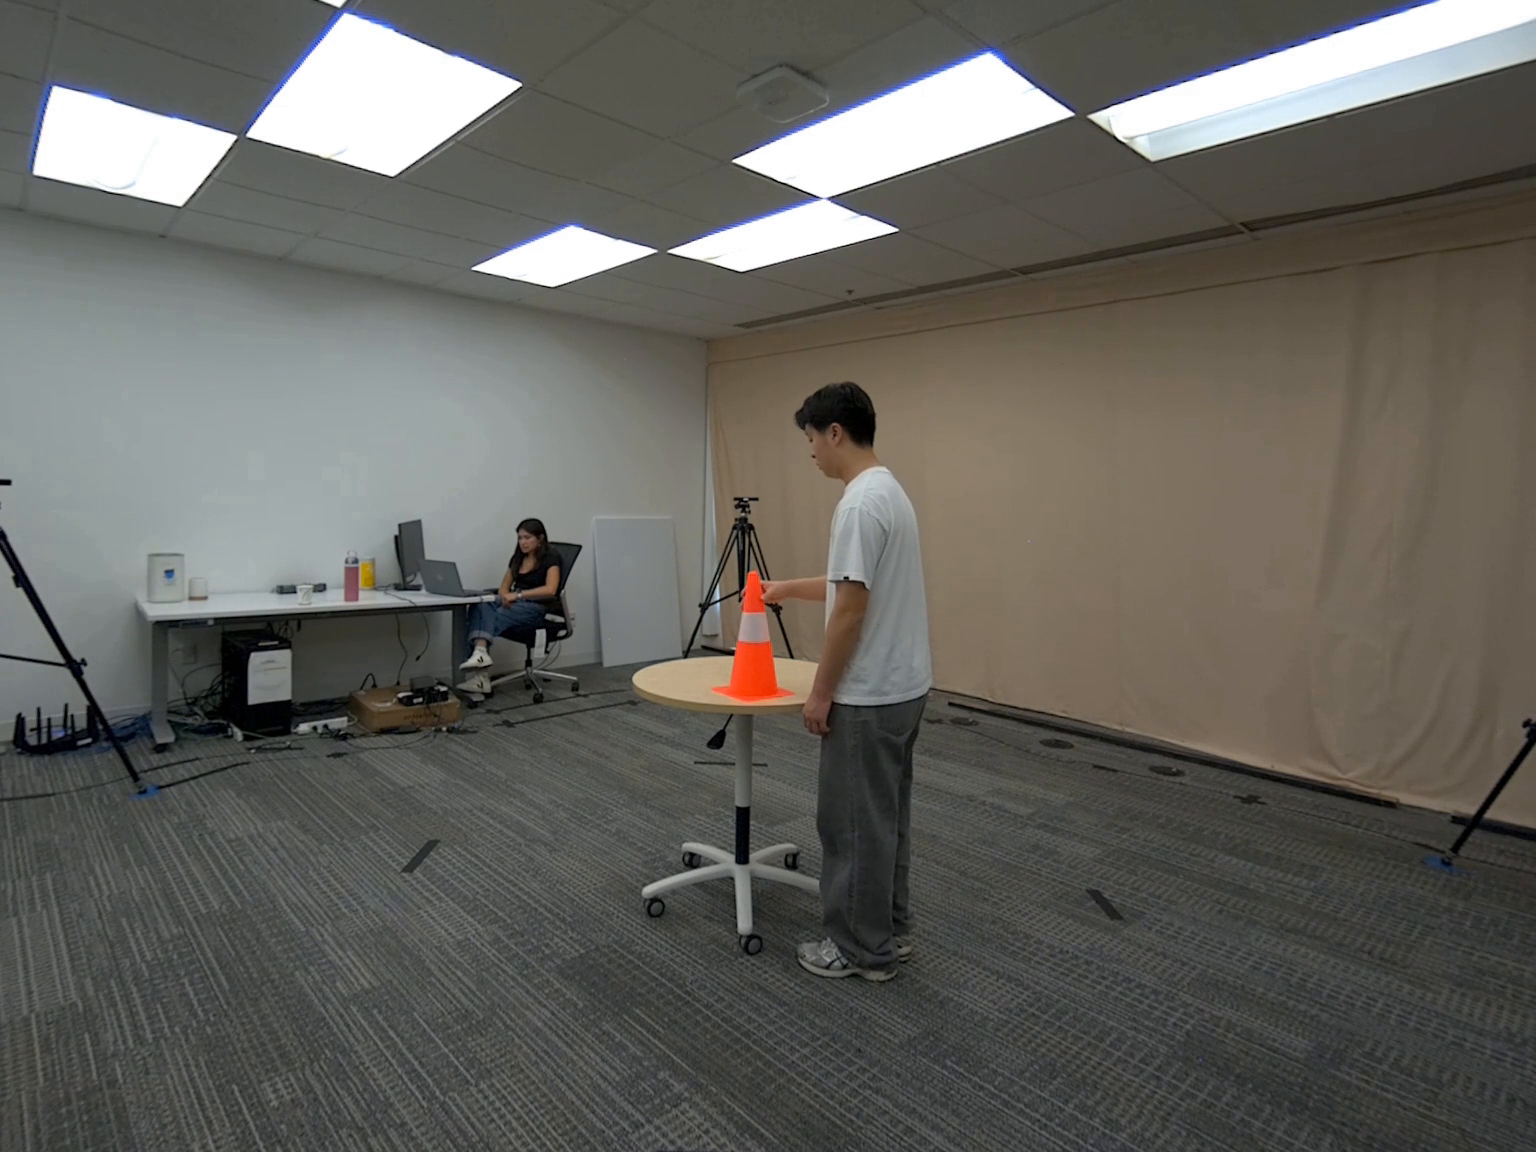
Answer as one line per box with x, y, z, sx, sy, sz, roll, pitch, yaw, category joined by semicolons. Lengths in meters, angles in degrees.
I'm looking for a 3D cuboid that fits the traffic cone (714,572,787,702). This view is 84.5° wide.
-0.046;0.178;2.655;0.208;0.383;0.201;3;4;33;traffic cone
